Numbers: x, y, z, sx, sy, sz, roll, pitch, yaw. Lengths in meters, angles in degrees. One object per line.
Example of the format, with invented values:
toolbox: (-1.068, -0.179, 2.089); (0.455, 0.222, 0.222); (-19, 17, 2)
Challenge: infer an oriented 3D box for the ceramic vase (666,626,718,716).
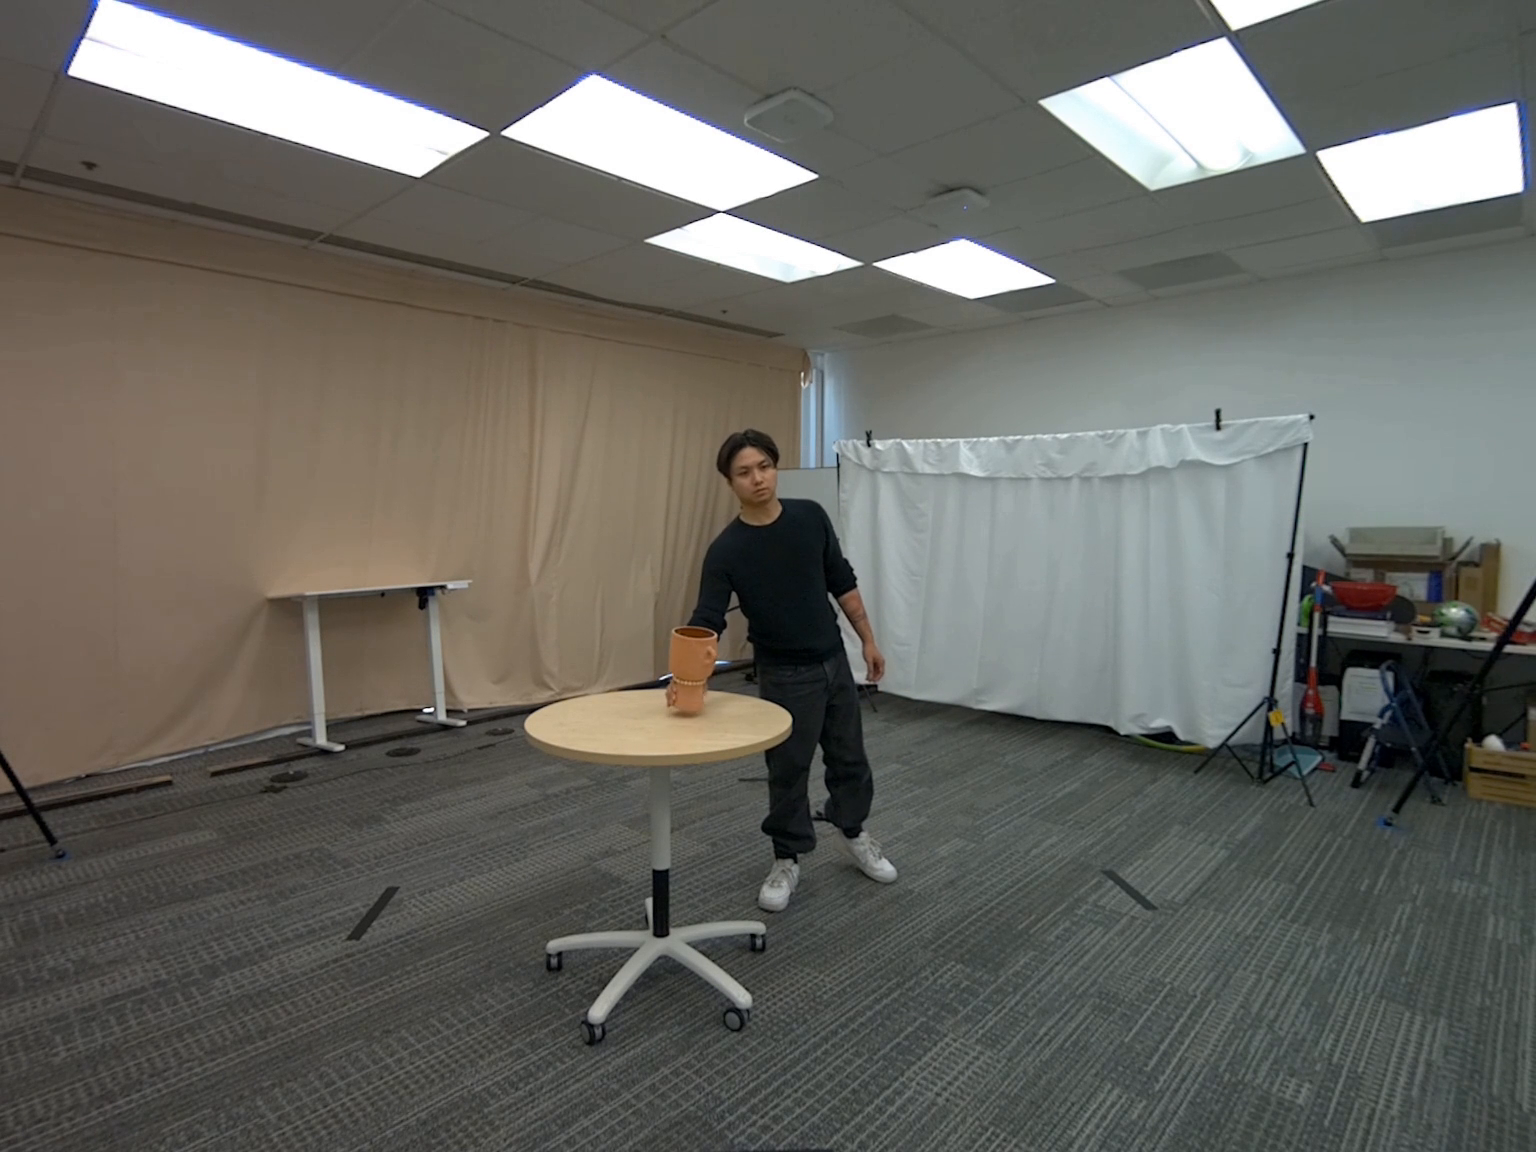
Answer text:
ceramic vase: (-0.223, 0.268, 2.440); (0.134, 0.218, 0.160); (6, 10, -6)
